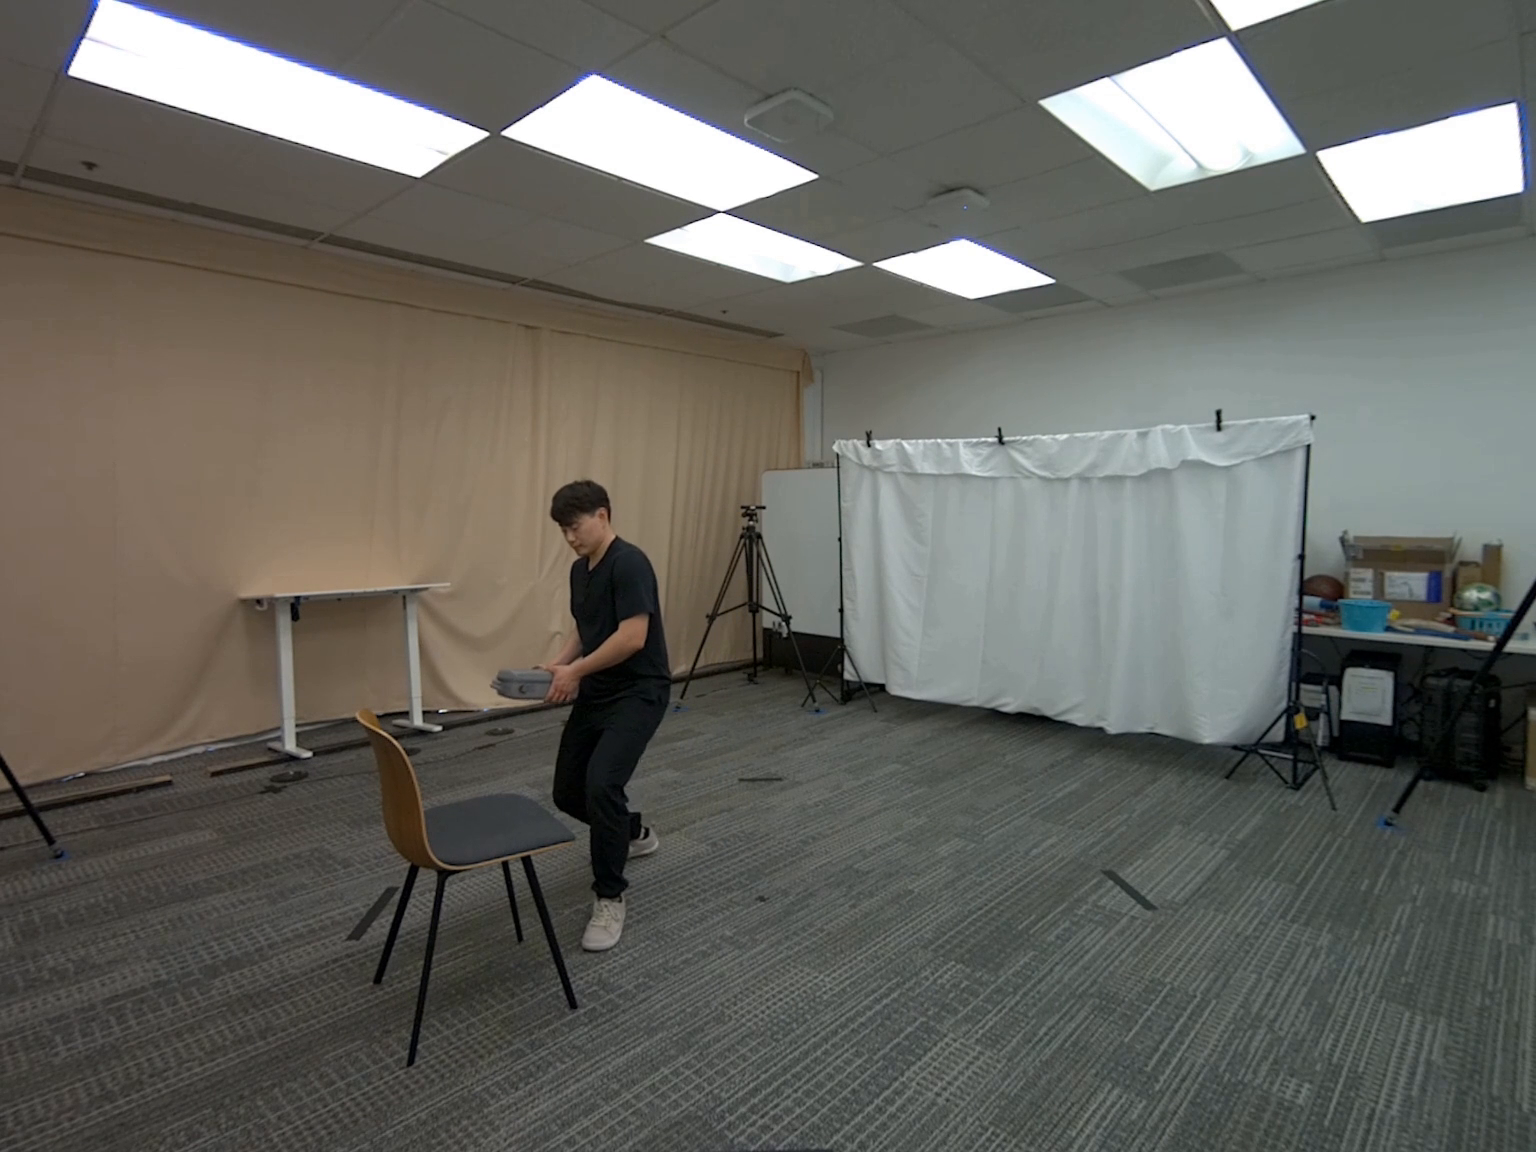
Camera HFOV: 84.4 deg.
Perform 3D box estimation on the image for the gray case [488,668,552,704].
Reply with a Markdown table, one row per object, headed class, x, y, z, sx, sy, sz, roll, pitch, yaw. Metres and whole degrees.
| class | x | y | z | sx | sy | sz | roll | pitch | yaw |
| --- | --- | --- | --- | --- | --- | --- | --- | --- | --- |
| gray case | -0.840 | 0.389 | 3.034 | 0.254 | 0.104 | 0.263 | 4 | -4 | -28 |
